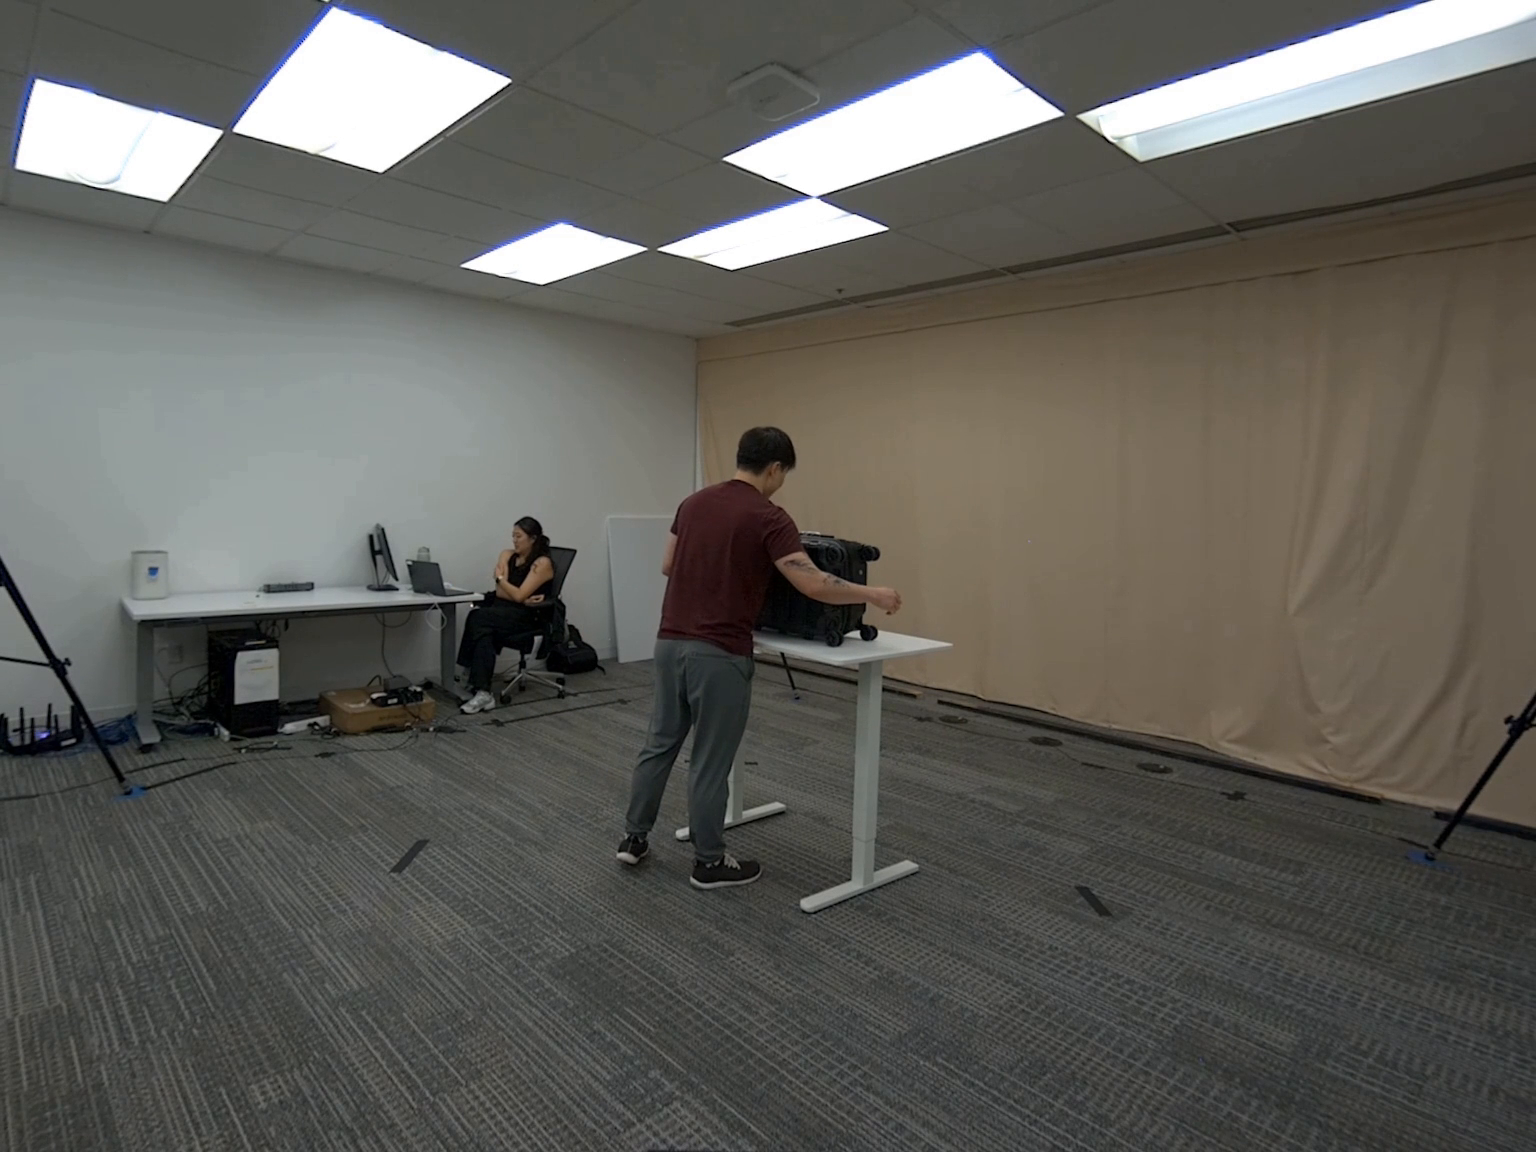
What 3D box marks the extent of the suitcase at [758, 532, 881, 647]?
[{"bbox_3d":[-0.034,0.019,3.330,1.004,0.383,0.251,6,7,43],"label":"suitcase"}]
